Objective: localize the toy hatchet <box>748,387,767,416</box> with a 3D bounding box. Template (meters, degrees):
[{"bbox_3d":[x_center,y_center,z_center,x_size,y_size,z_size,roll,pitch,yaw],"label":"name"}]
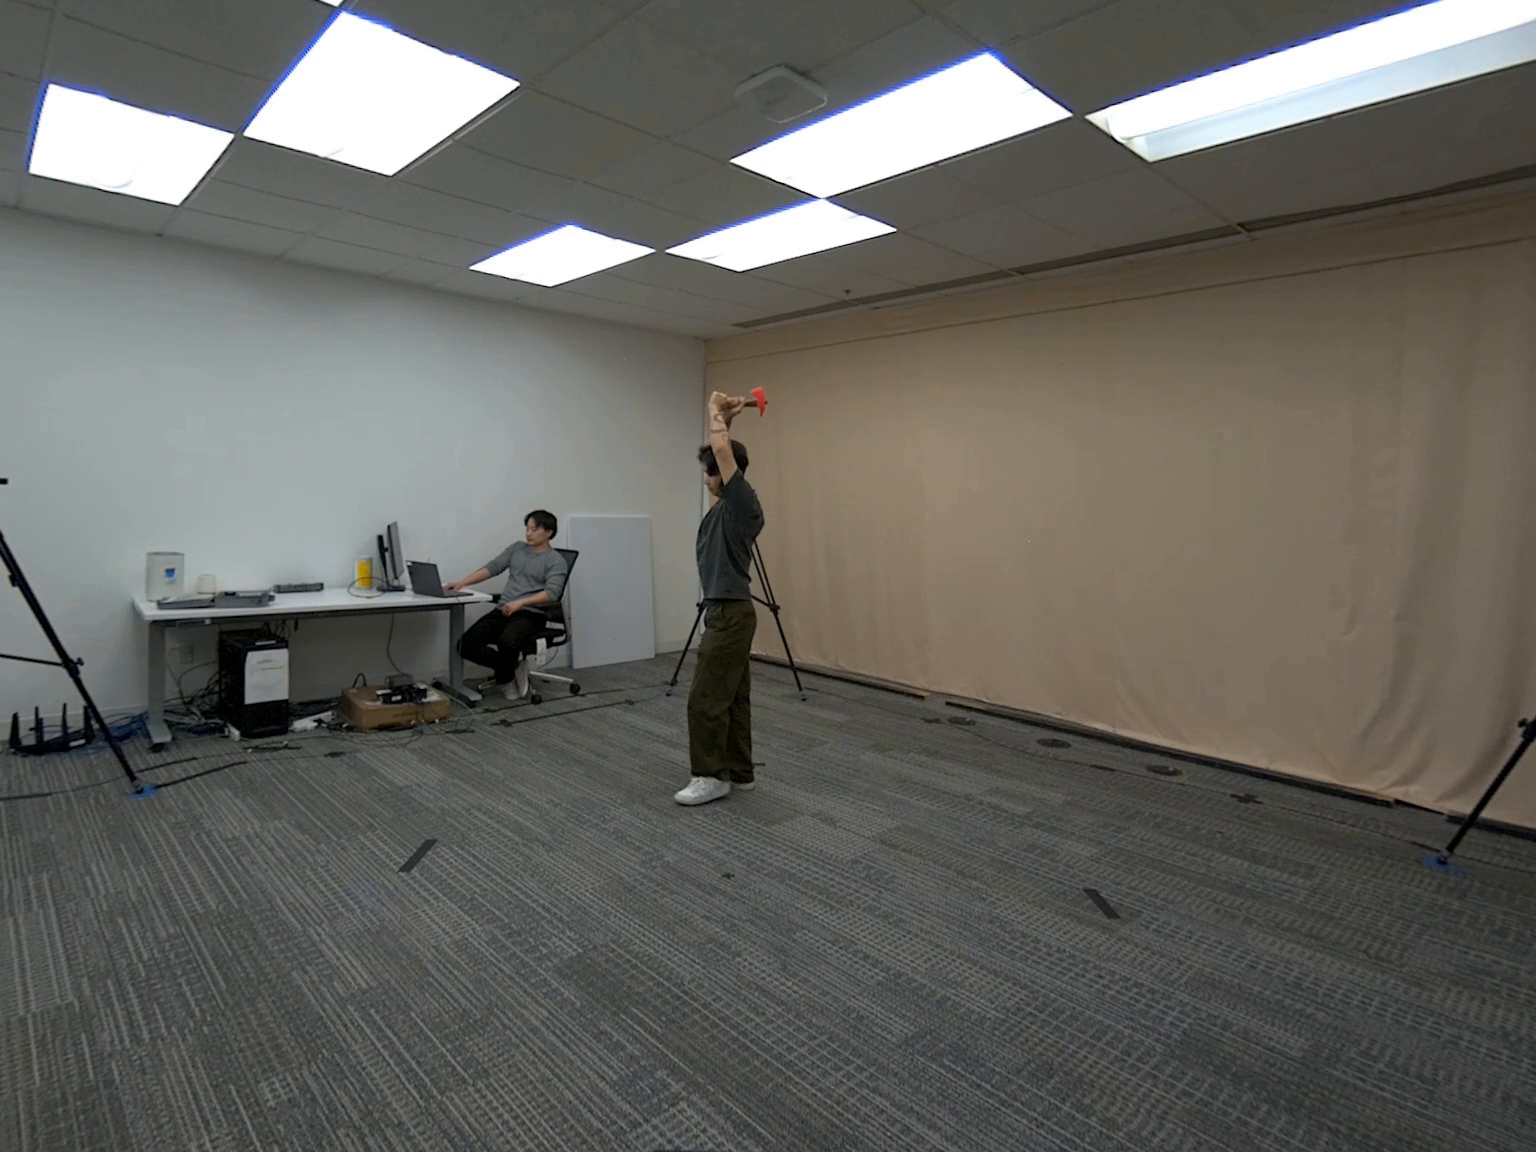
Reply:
[{"bbox_3d":[-0.145,-0.838,3.908,0.266,0.130,0.030,13,22,-17],"label":"toy hatchet"}]
